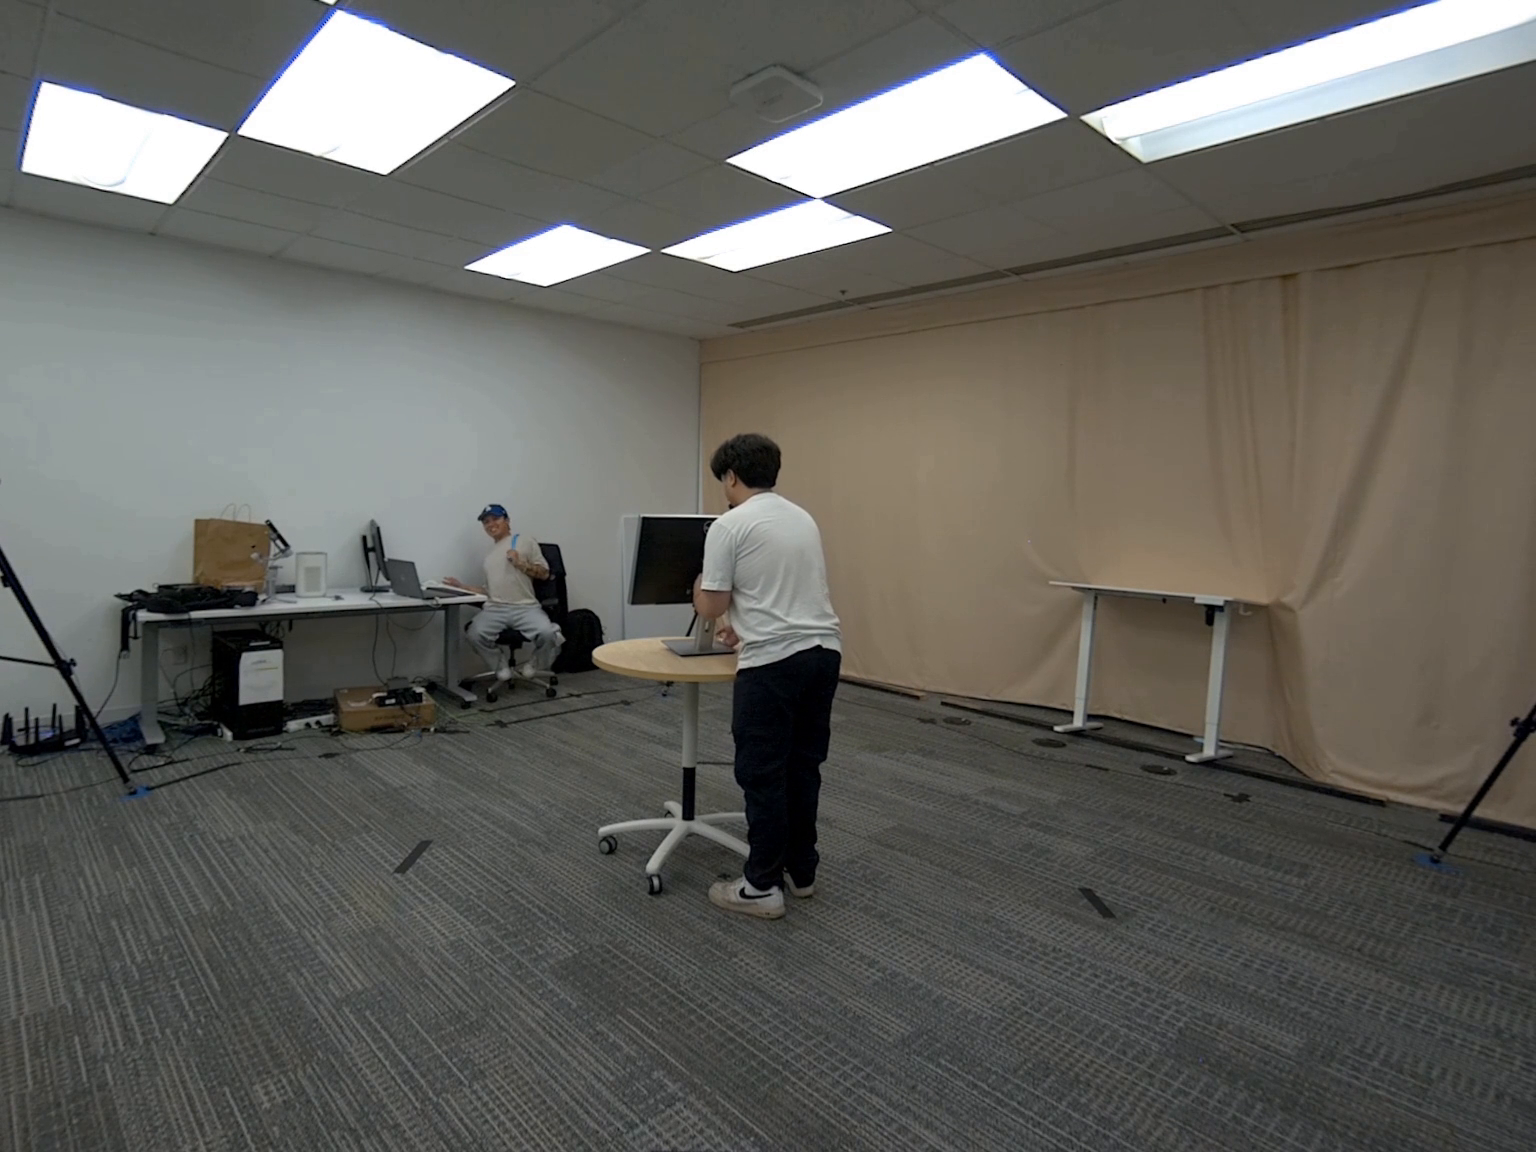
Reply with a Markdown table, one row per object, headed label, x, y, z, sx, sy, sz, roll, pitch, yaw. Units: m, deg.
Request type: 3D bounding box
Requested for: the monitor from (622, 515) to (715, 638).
| label | x | y | z | sx | sy | sz | roll | pitch | yaw |
| --- | --- | --- | --- | --- | --- | --- | --- | --- | --- |
| monitor | -0.240 | 0.043 | 3.238 | 0.554 | 0.549 | 0.216 | 0 | 15 | -29 |
